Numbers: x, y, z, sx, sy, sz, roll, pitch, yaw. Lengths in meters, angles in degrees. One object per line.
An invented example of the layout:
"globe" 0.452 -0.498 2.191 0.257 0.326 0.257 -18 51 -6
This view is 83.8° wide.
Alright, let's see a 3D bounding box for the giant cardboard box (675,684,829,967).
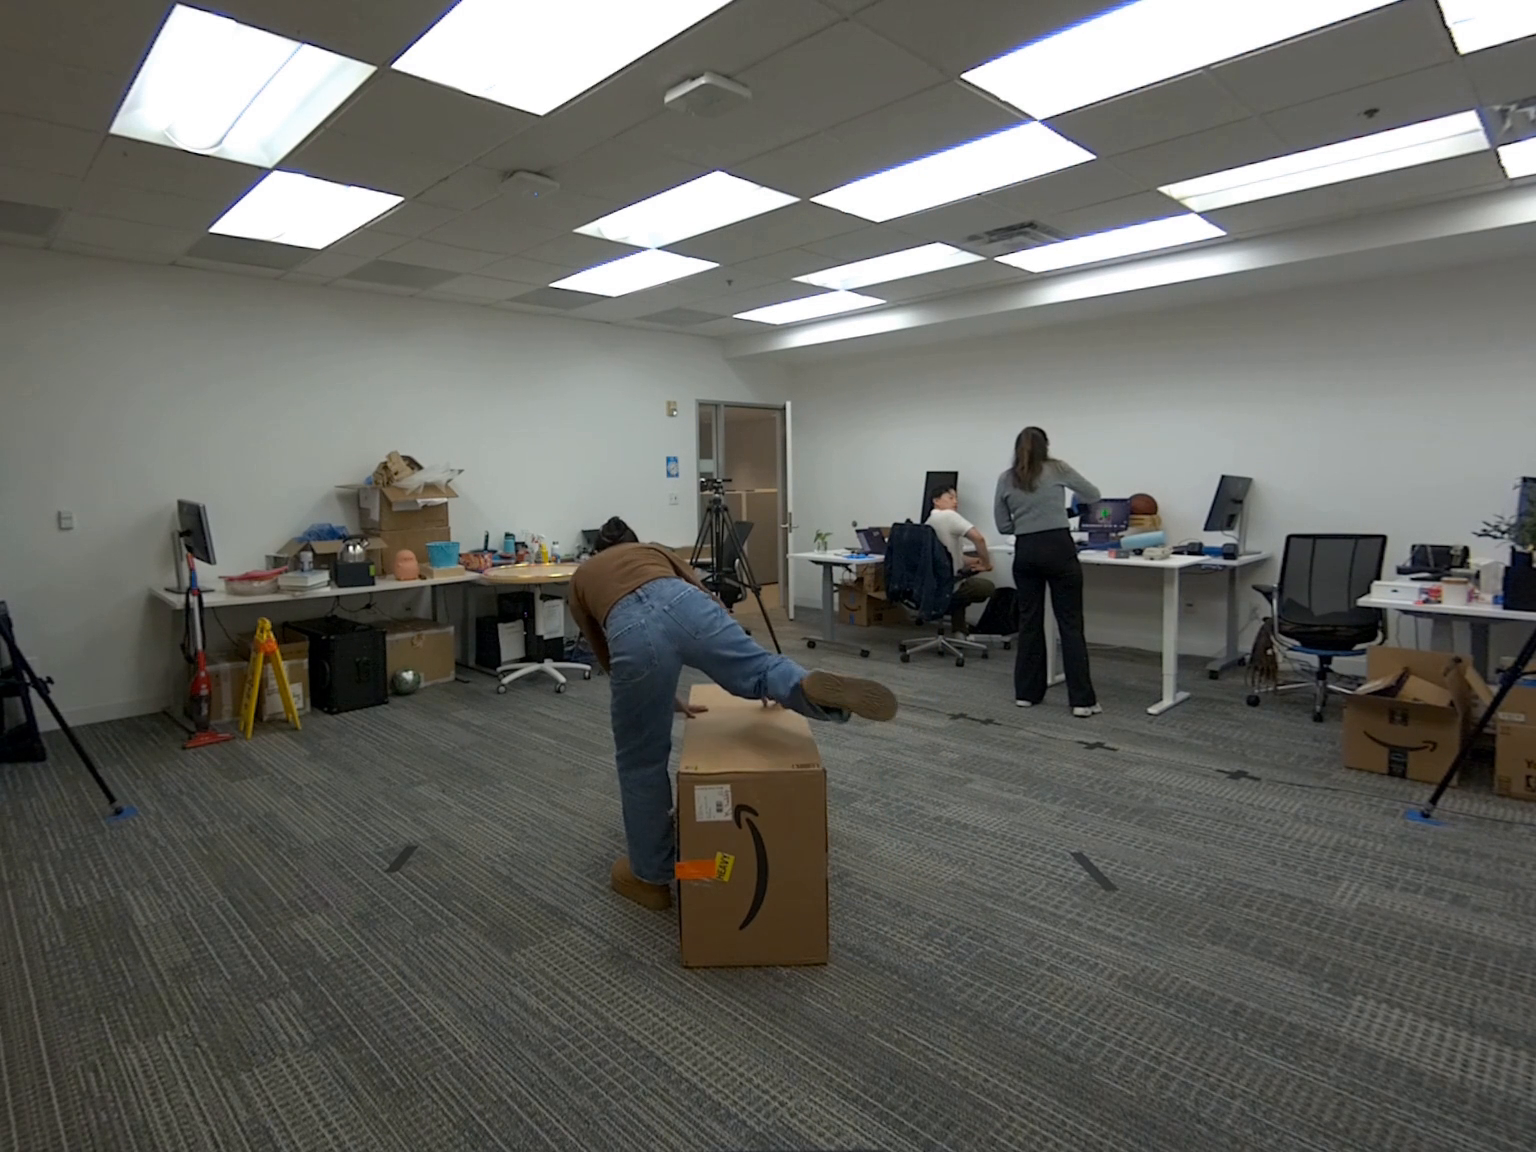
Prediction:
"giant cardboard box" -0.076 0.778 2.940 0.446 0.582 1.032 0 5 -2
